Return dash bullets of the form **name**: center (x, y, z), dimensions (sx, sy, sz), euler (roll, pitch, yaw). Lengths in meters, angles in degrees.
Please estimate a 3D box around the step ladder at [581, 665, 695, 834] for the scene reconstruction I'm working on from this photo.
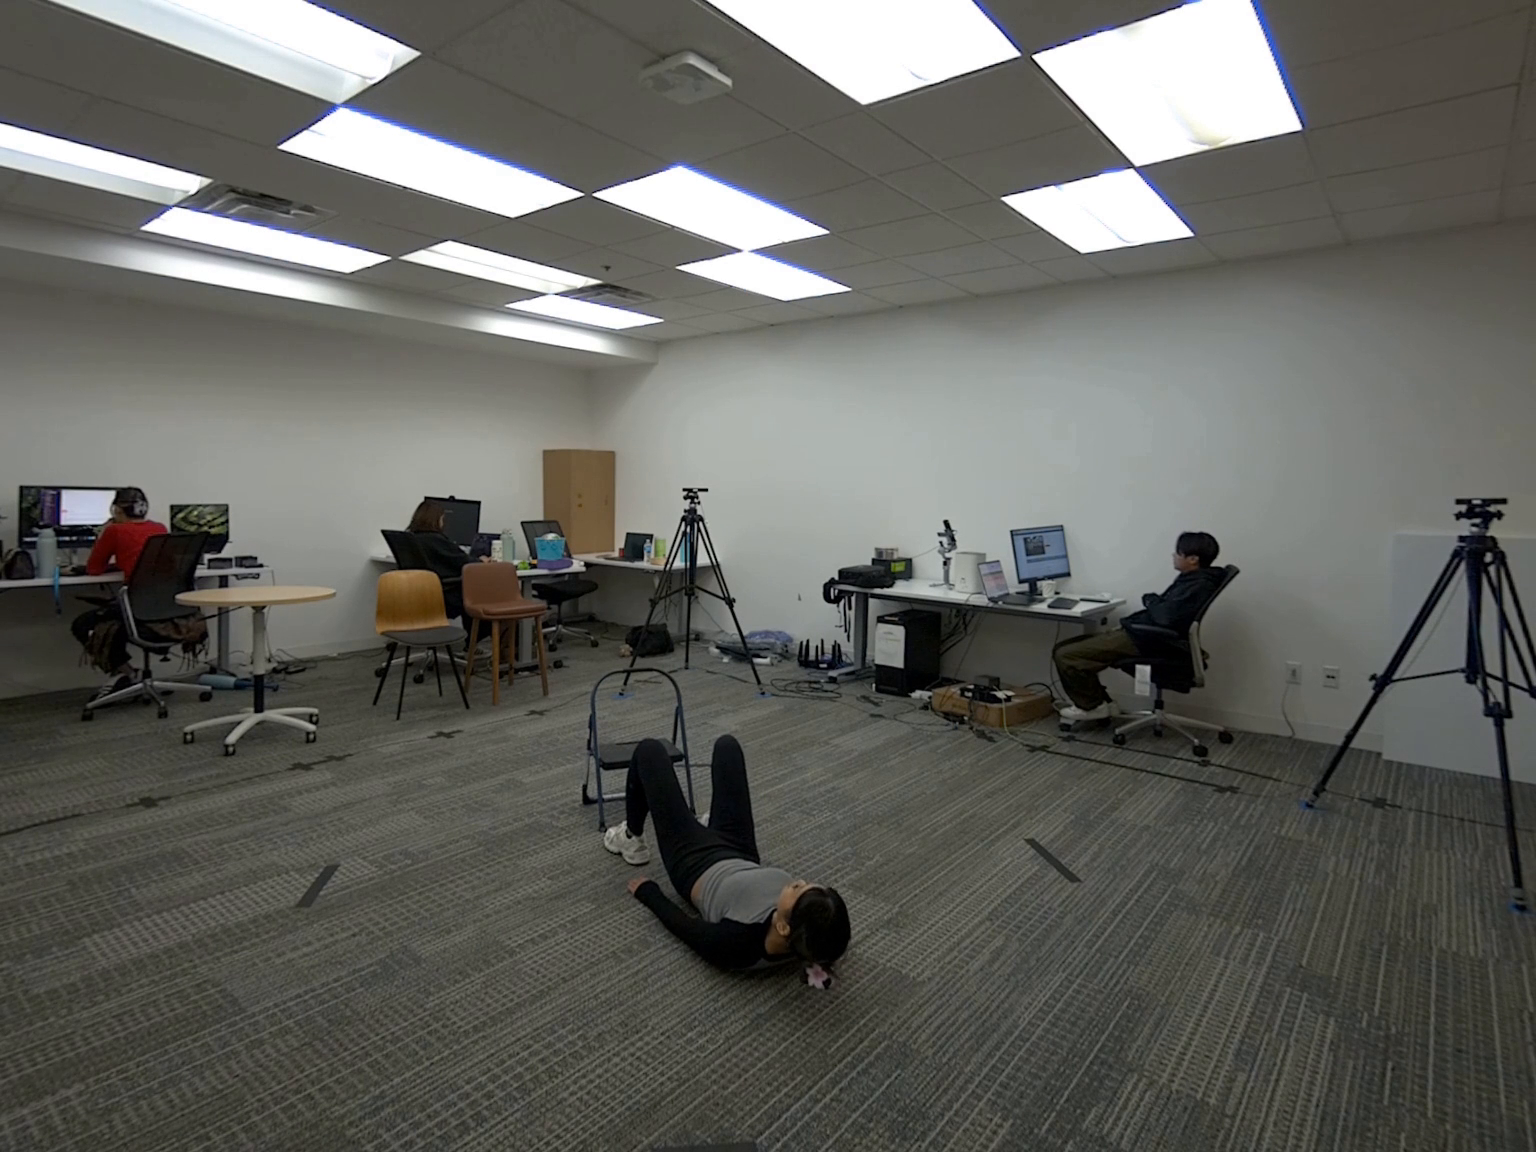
- **step ladder**: center (-0.570, 0.710, 3.655), dimensions (0.420, 0.604, 0.359), euler (-1, 4, -25)
